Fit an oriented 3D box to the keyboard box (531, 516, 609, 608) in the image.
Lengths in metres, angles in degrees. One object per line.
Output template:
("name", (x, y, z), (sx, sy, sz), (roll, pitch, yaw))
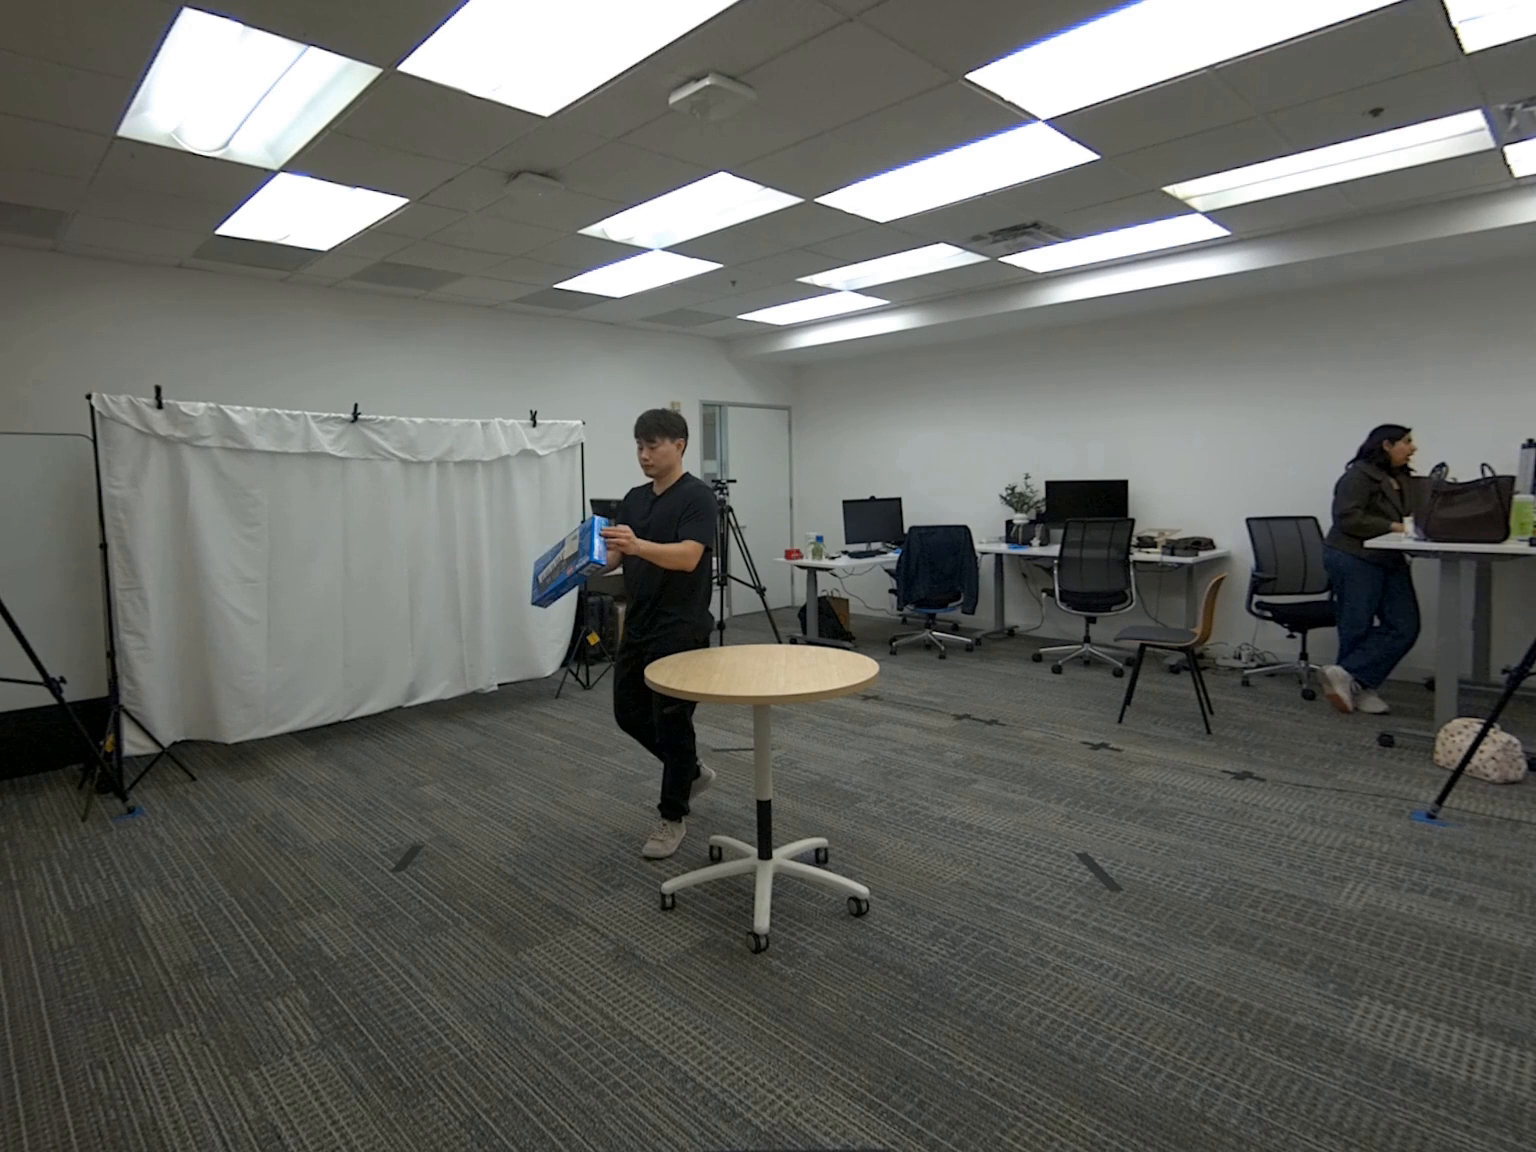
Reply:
("keyboard box", (-0.694, -0.039, 2.943), (0.057, 0.180, 0.441), (17, -32, -34))
